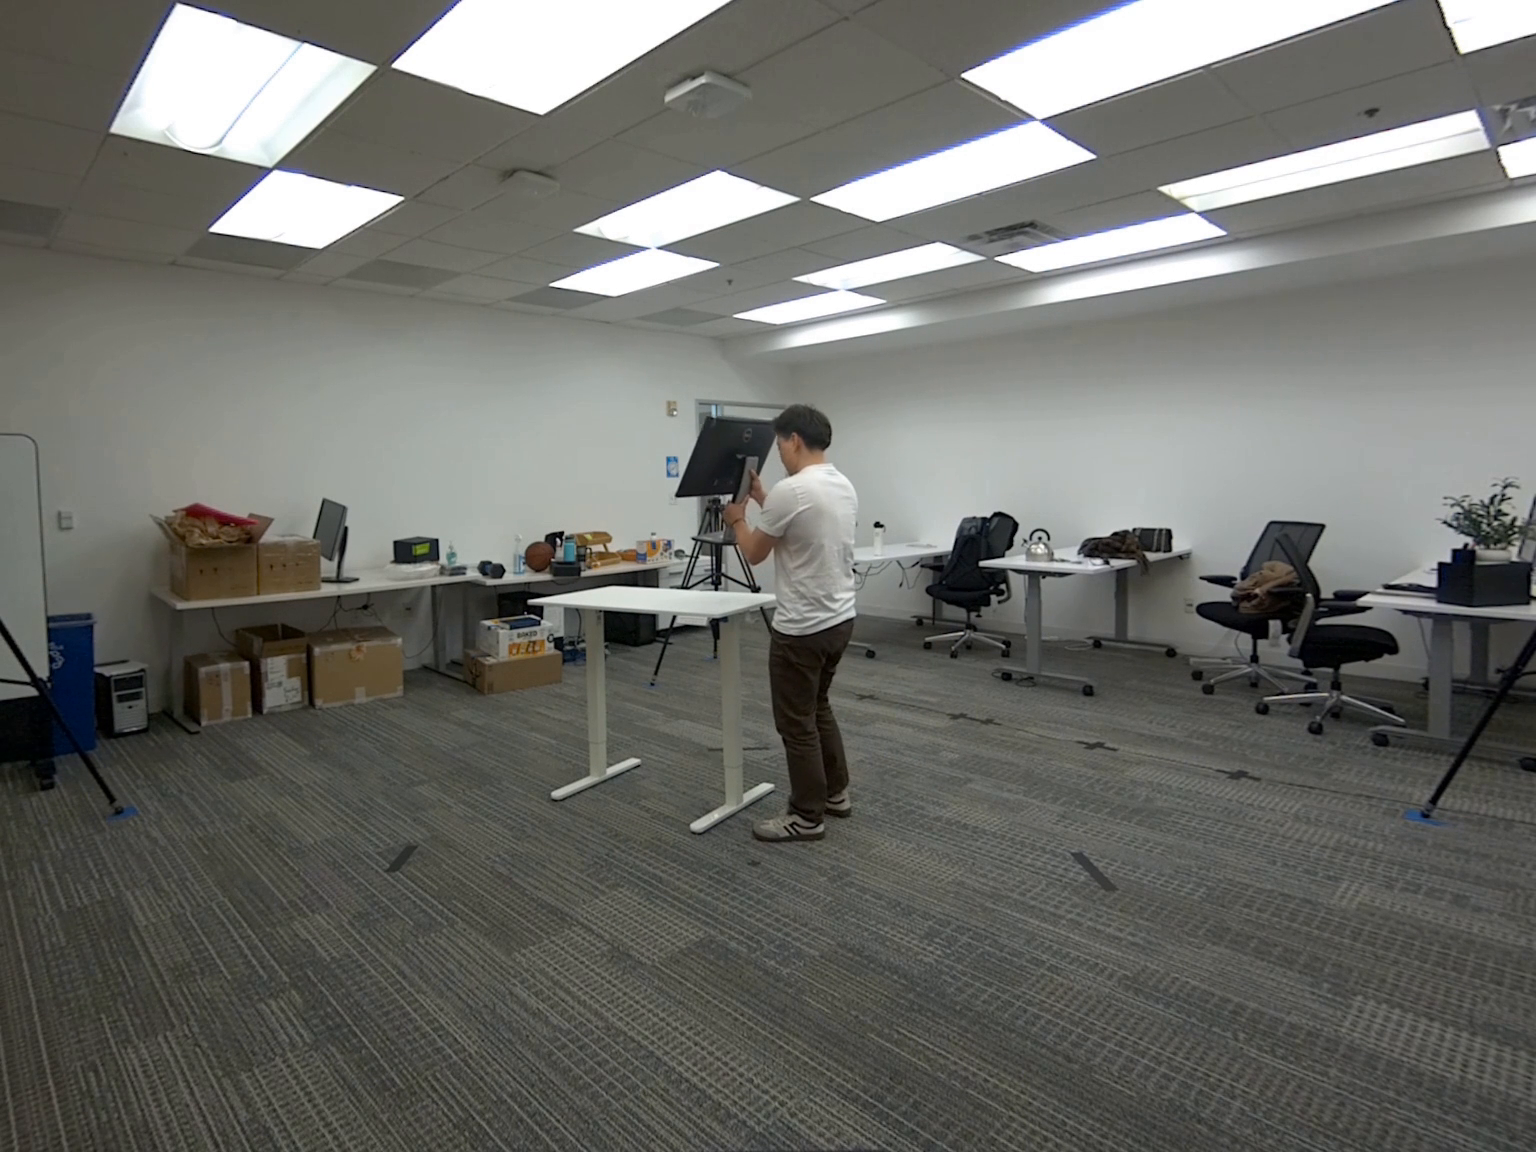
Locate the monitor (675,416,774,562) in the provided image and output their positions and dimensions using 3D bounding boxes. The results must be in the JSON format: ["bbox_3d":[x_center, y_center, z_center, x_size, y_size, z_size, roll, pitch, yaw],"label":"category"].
[{"bbox_3d":[-0.140,-0.393,3.509,0.193,0.518,0.527,19,15,28],"label":"monitor"}]
